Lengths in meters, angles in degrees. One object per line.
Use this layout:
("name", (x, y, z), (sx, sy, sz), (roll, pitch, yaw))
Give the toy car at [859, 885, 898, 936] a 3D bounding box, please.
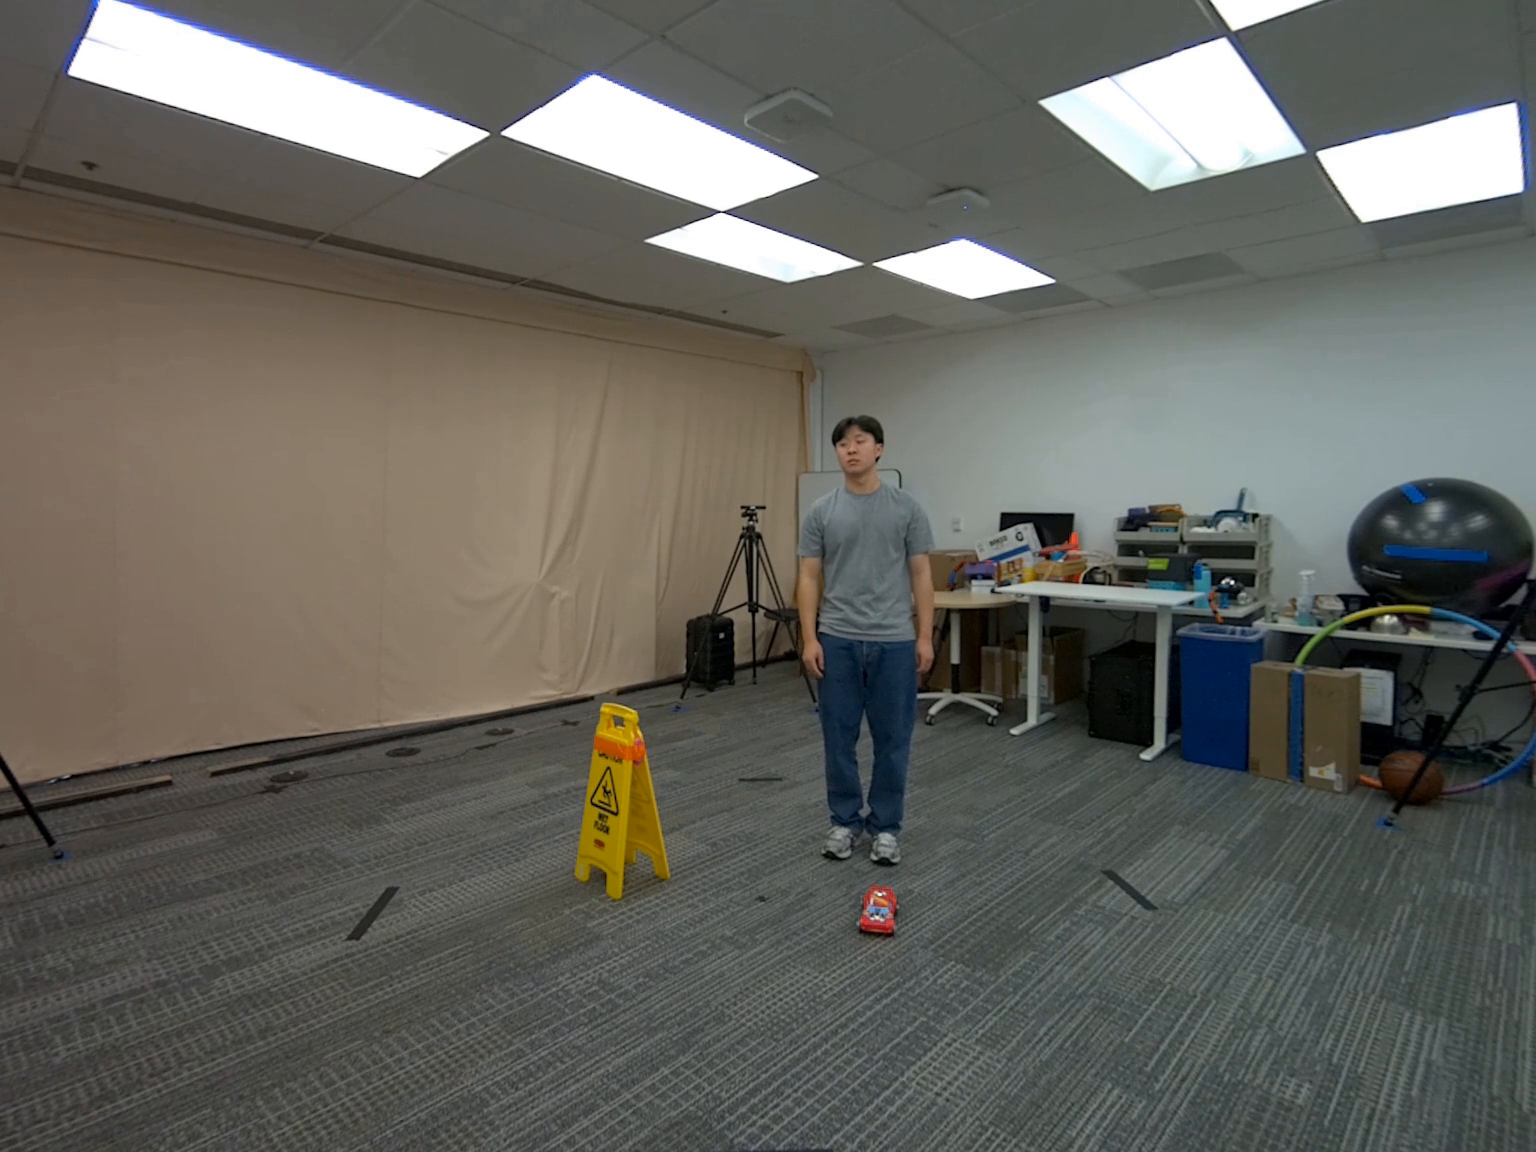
("toy car", (0.372, 1.116, 2.830), (0.132, 0.082, 0.254), (0, 17, 11))
